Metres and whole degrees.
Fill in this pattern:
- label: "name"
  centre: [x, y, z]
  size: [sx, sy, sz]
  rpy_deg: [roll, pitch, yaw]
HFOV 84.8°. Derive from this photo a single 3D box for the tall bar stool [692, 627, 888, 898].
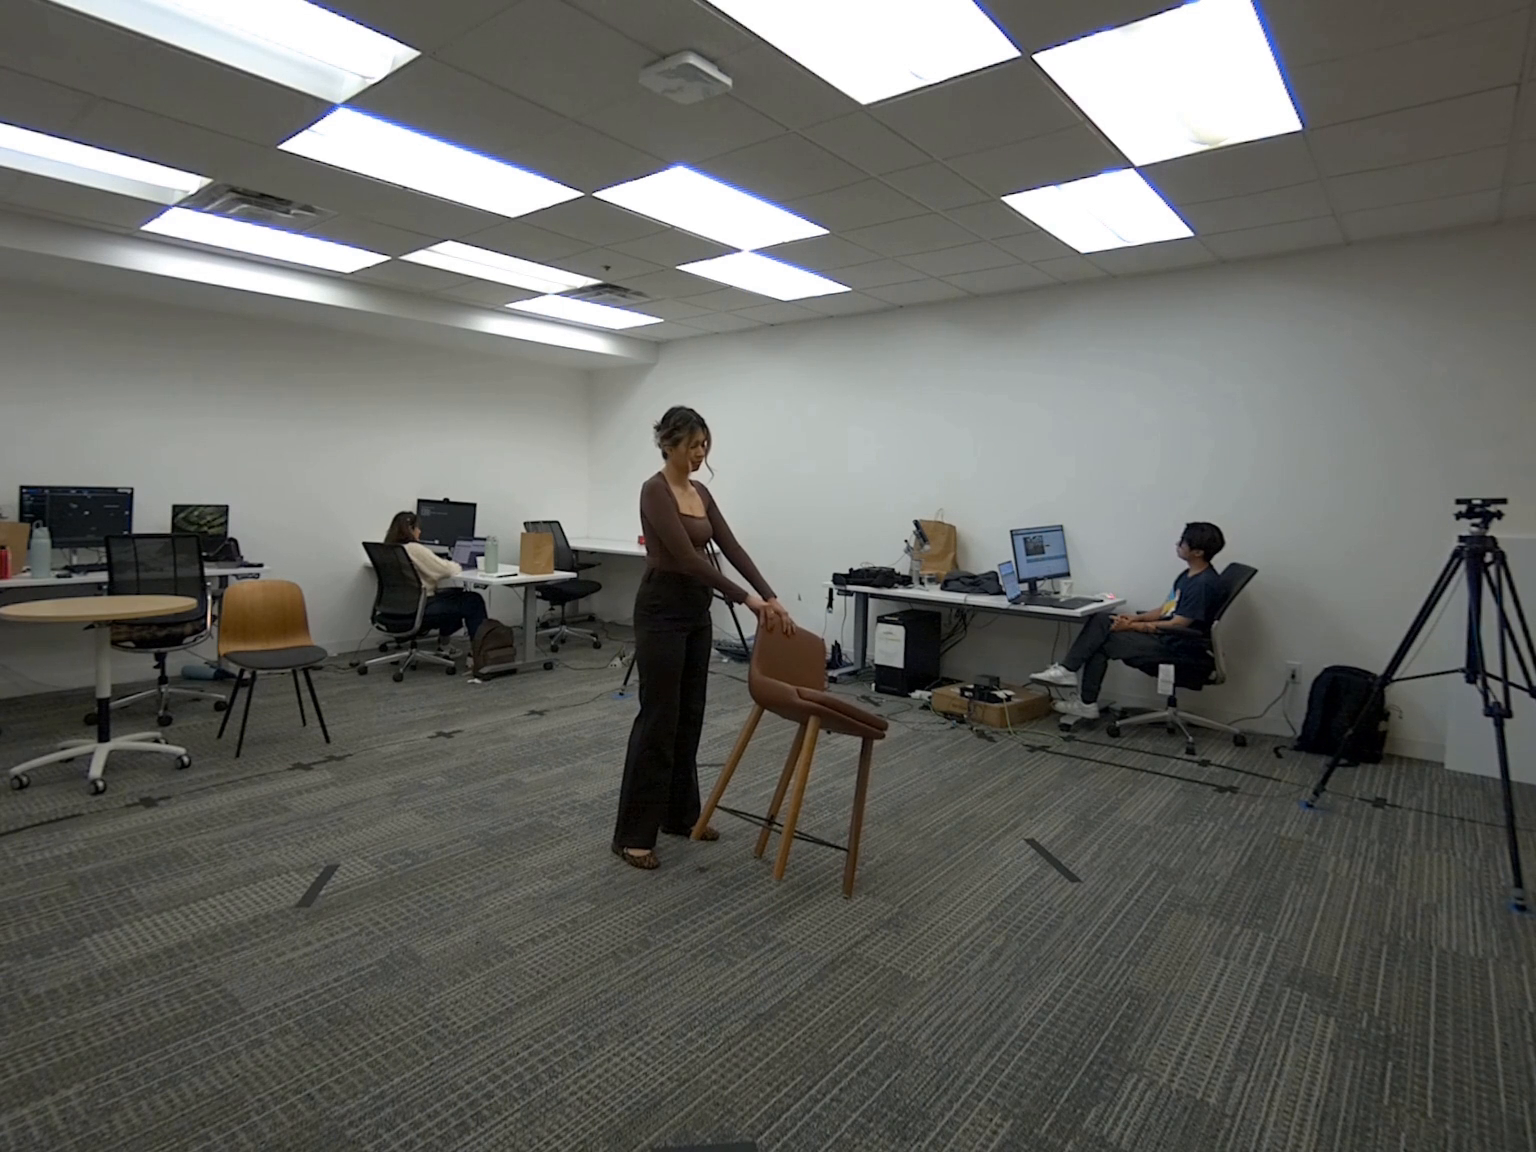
- label: "tall bar stool"
  centre: [0.118, 0.606, 3.068]
  size: [0.483, 0.898, 0.438]
  rpy_deg: [0, -21, 46]
